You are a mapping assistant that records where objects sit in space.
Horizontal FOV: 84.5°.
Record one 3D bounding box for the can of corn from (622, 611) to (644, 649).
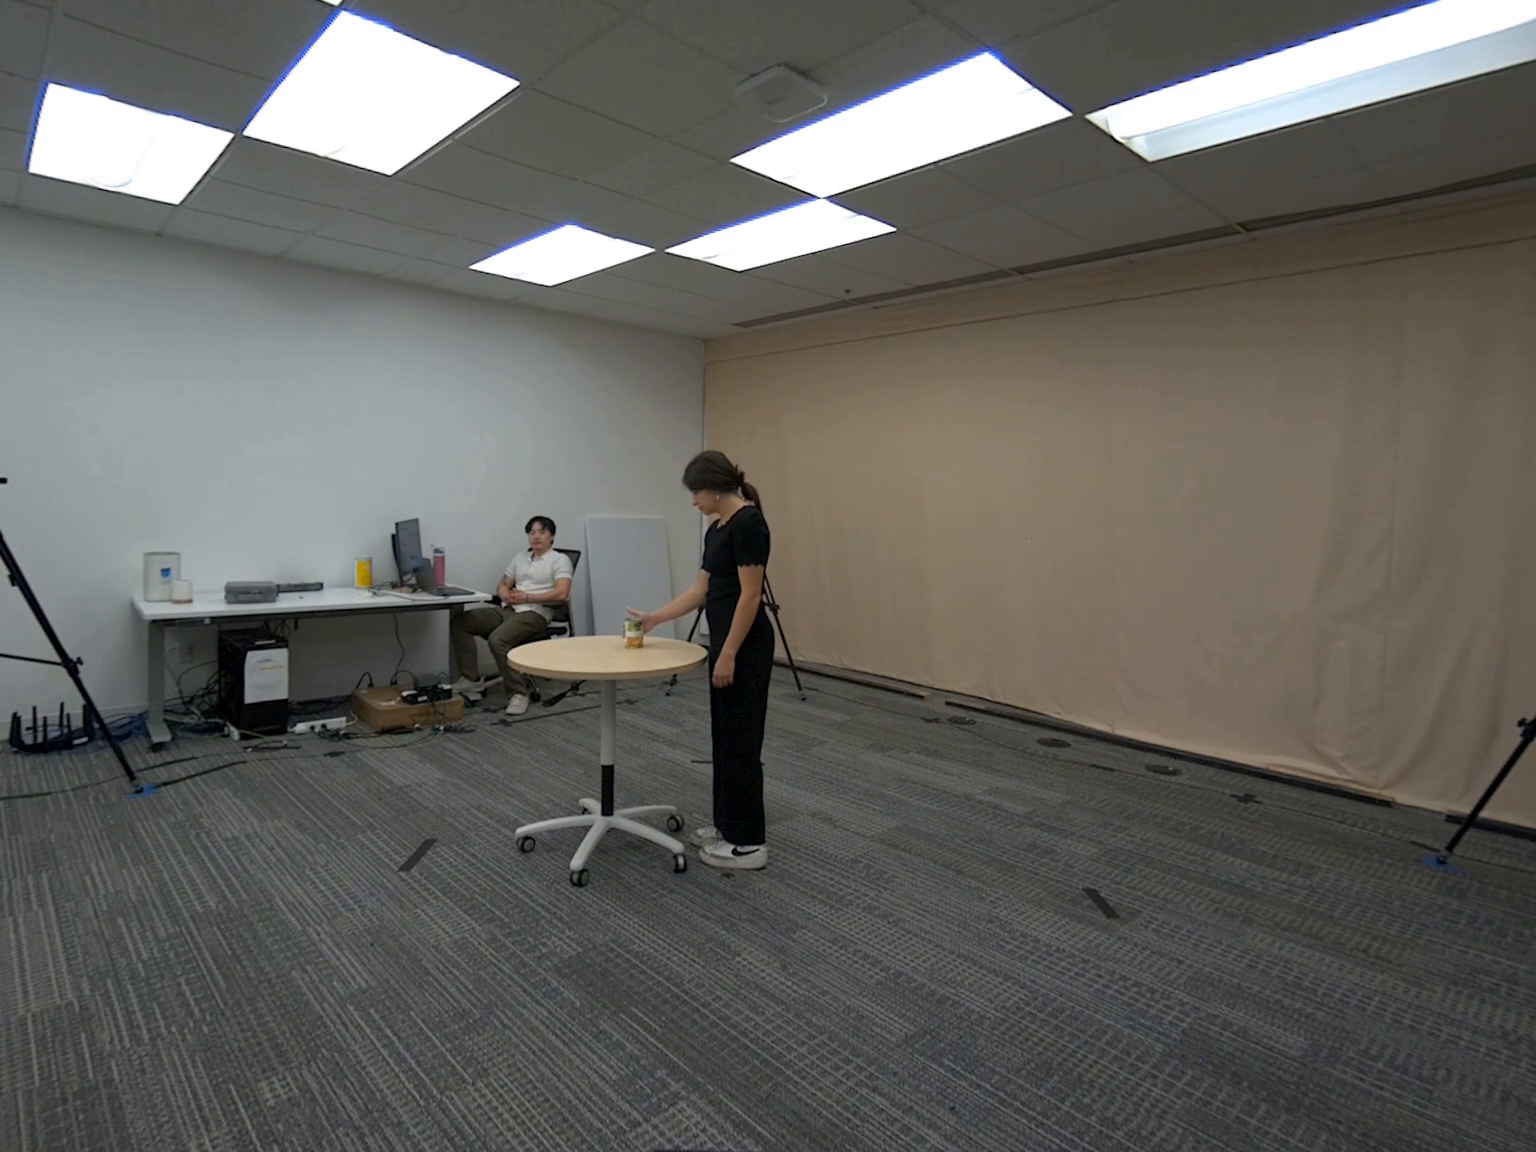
[{"bbox_3d":[-0.544,0.234,3.384,0.074,0.111,0.074,0,-1,-1],"label":"can of corn"}]
